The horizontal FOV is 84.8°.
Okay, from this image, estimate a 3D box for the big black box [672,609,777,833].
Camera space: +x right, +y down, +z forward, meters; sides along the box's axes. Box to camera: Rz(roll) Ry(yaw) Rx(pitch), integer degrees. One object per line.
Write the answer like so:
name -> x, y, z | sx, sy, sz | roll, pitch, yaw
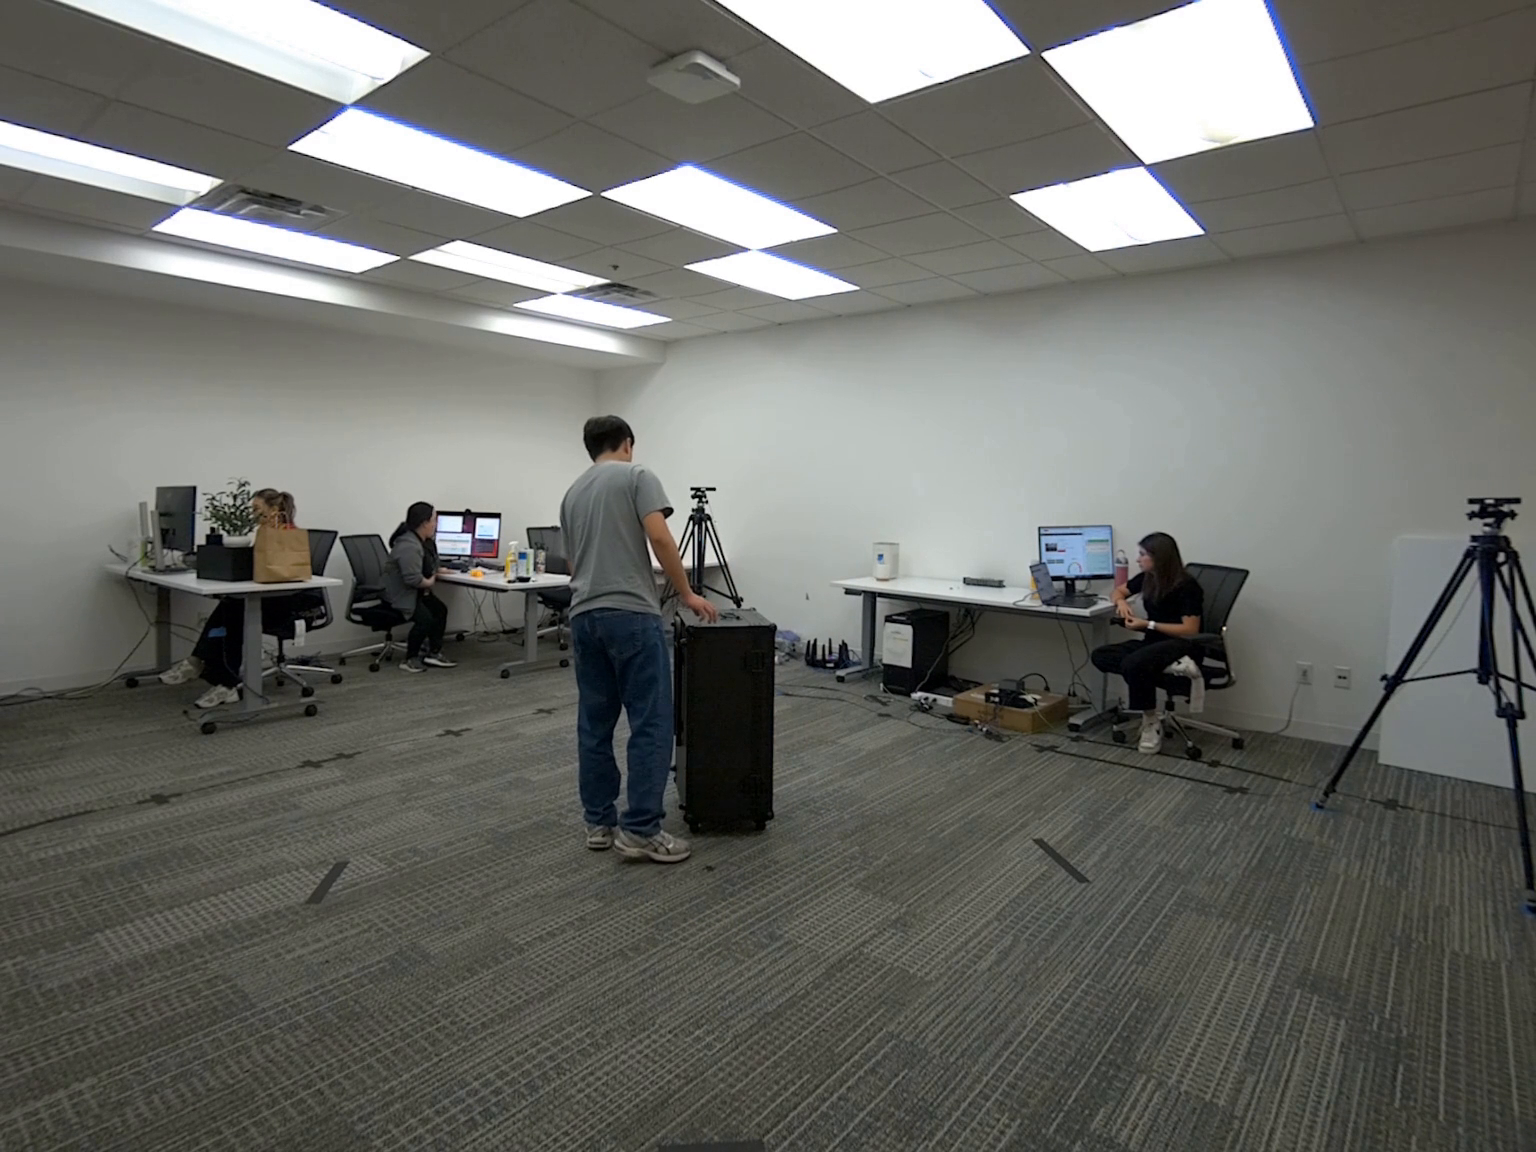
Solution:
big black box -> -0.208, 0.595, 3.597 | 0.392, 0.858, 0.529 | 0, 4, -11
